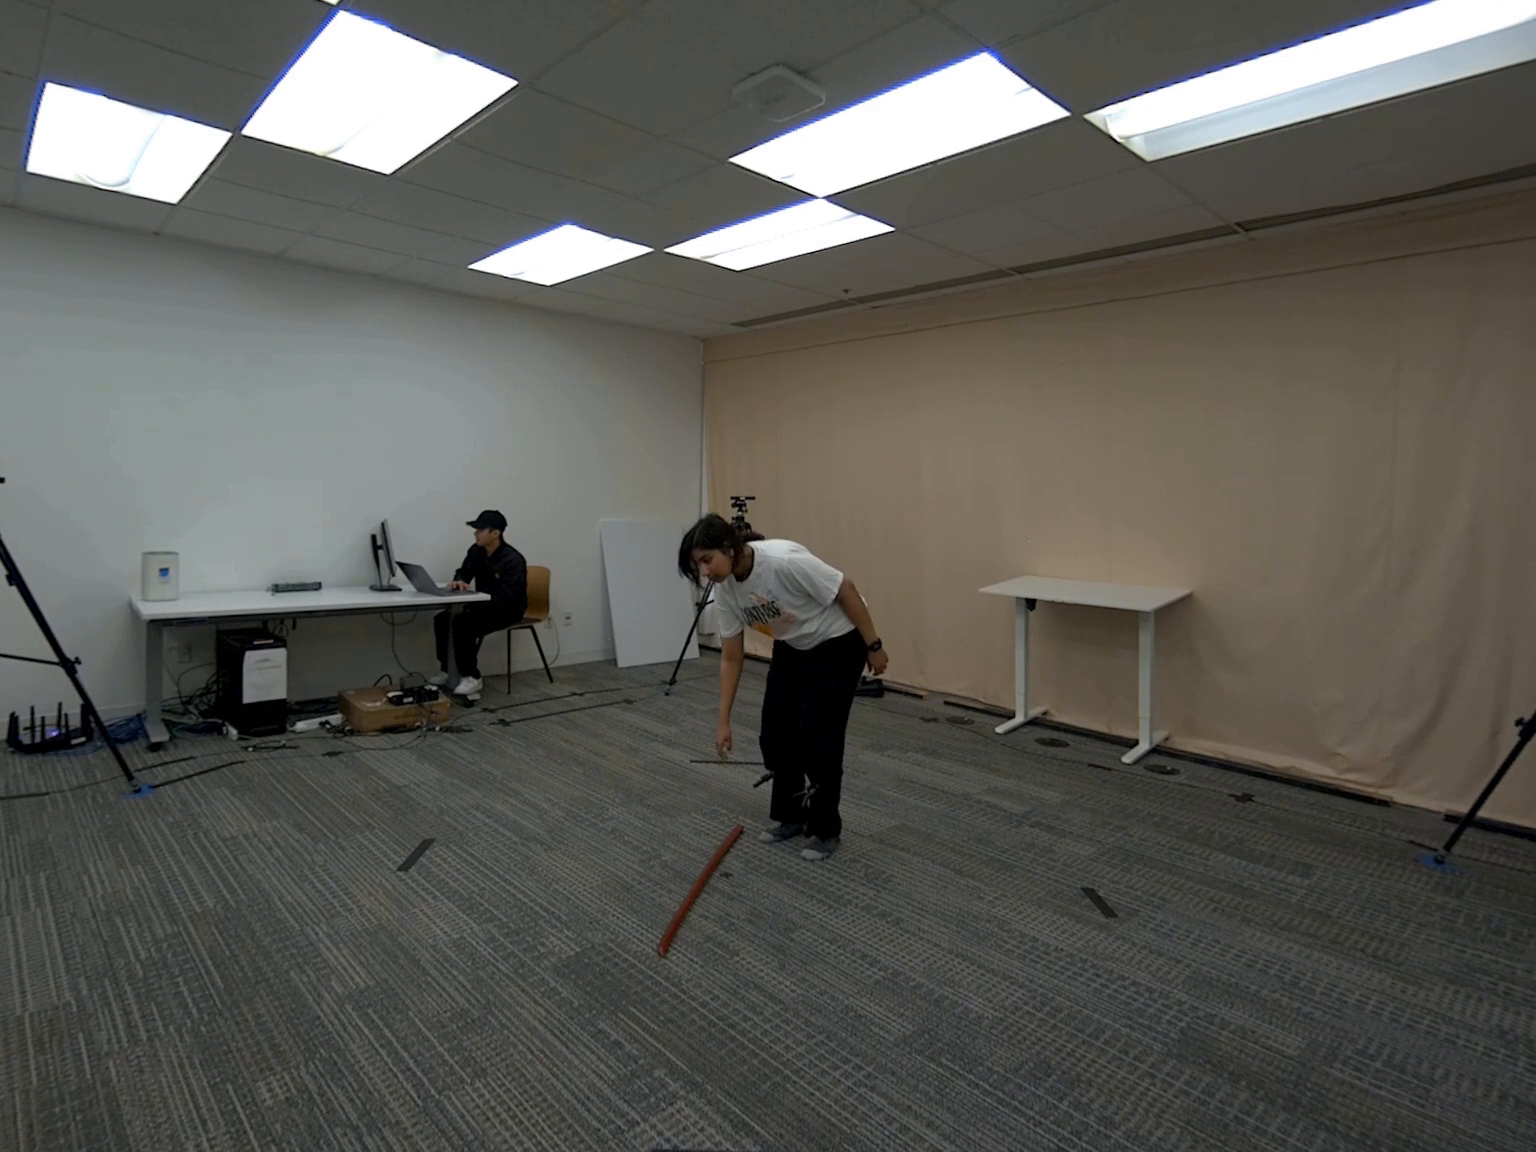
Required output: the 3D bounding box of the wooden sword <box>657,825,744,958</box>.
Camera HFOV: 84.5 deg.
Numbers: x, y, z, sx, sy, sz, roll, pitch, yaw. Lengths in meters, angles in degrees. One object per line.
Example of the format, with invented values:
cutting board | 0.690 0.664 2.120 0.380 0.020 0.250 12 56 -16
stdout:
wooden sword | -0.238 1.084 3.029 0.052 0.024 1.017 5 6 11
